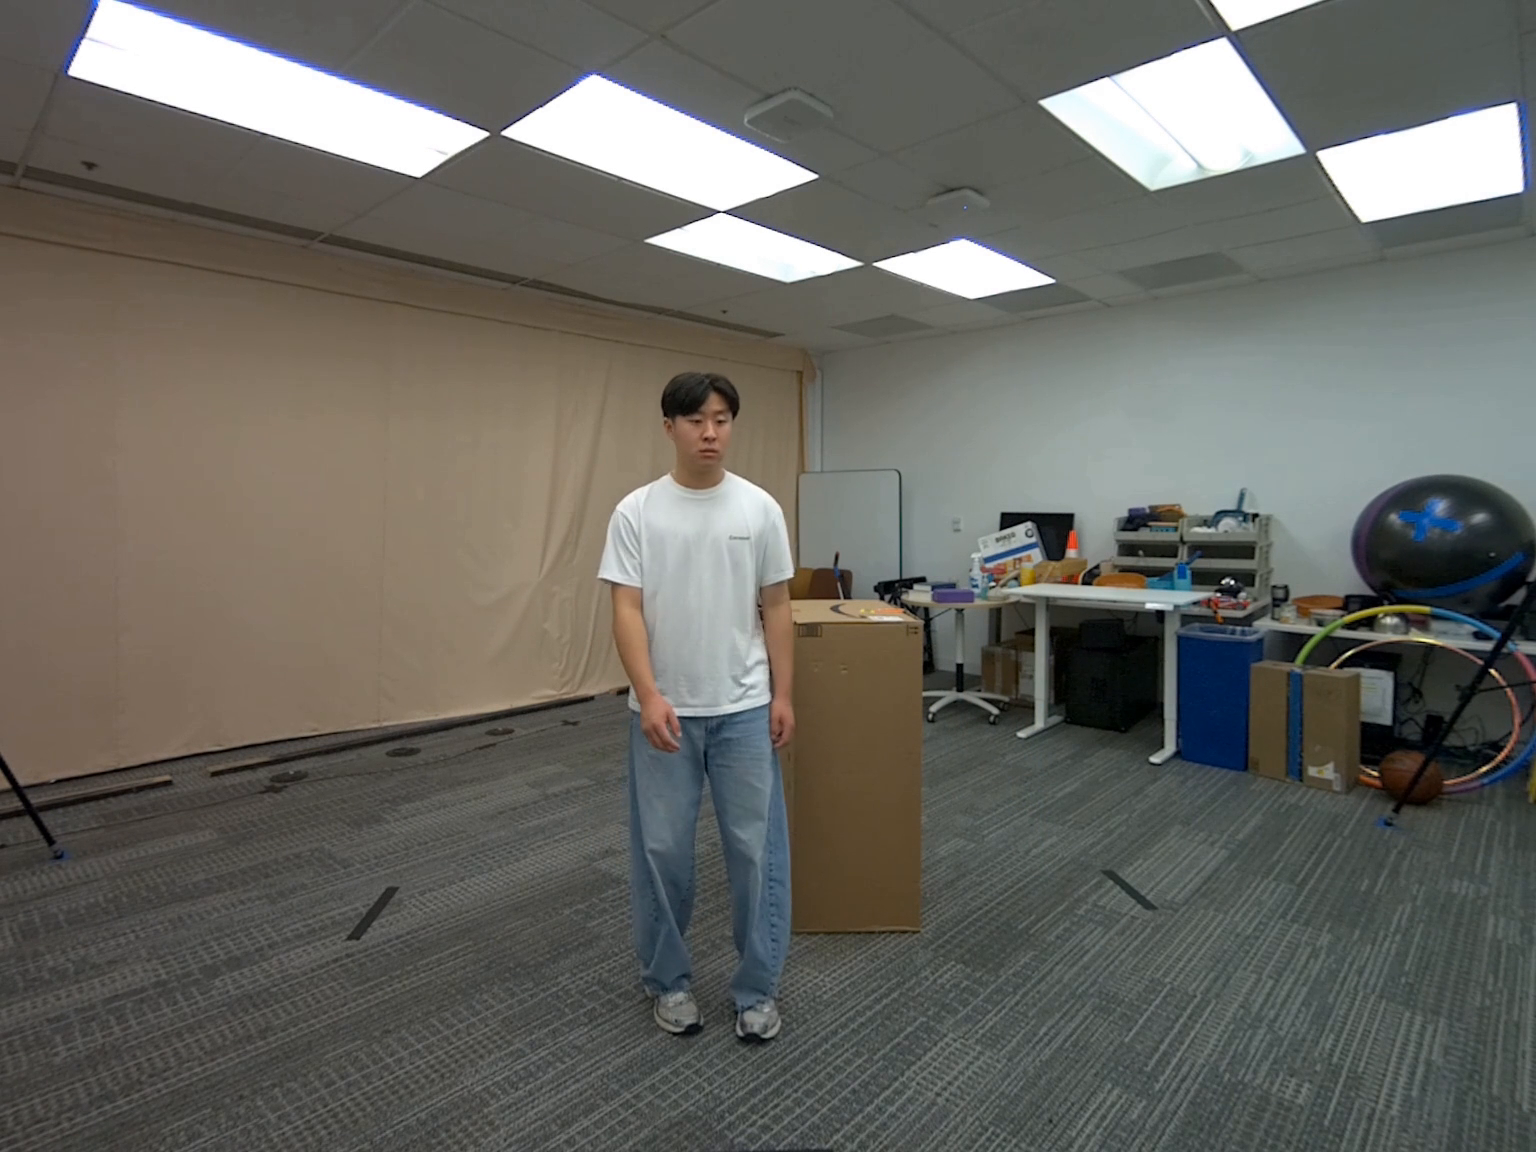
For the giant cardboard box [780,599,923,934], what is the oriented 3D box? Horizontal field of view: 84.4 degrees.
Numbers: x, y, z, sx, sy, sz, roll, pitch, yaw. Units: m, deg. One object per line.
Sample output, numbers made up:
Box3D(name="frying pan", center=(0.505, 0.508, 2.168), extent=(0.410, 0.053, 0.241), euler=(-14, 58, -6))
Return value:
Box3D(name="giant cardboard box", center=(0.276, 0.633, 2.997), extent=(0.425, 1.024, 0.581), euler=(0, 3, -4))
